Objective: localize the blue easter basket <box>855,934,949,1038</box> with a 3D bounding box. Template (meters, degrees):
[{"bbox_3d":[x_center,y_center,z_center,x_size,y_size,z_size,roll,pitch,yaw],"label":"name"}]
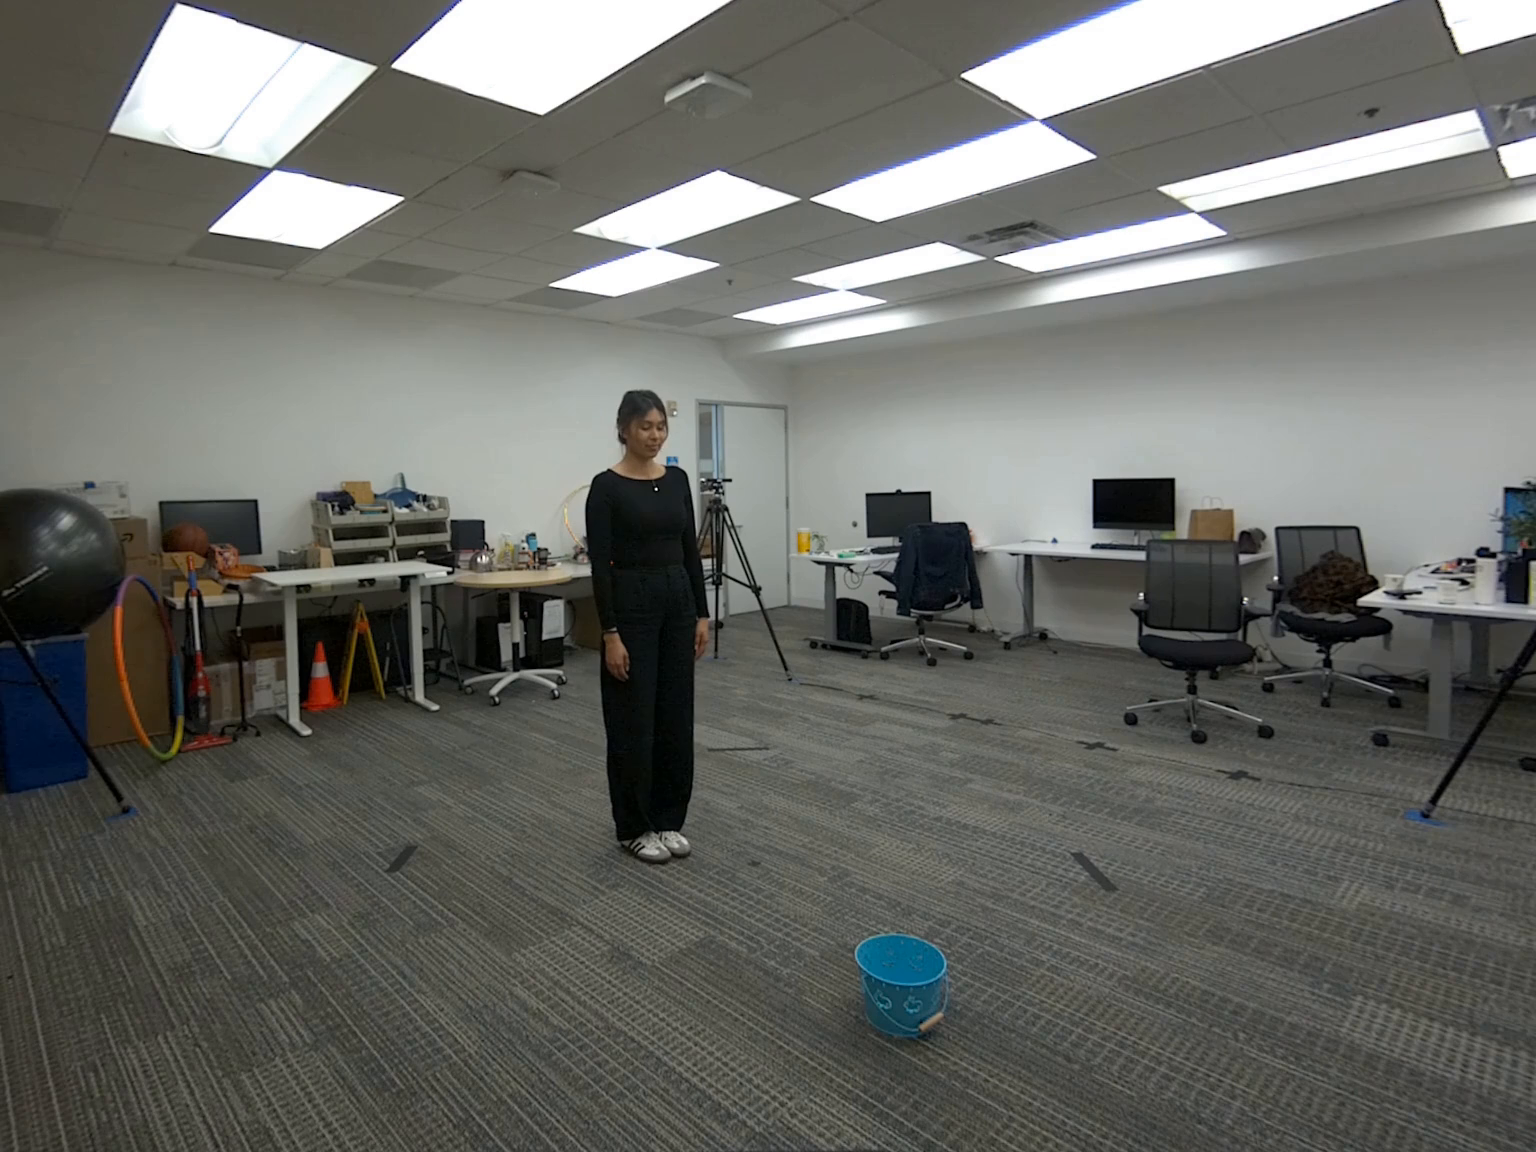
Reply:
[{"bbox_3d":[0.348,1.065,2.208,0.243,0.155,0.245,-2,5,-2],"label":"blue easter basket"}]
